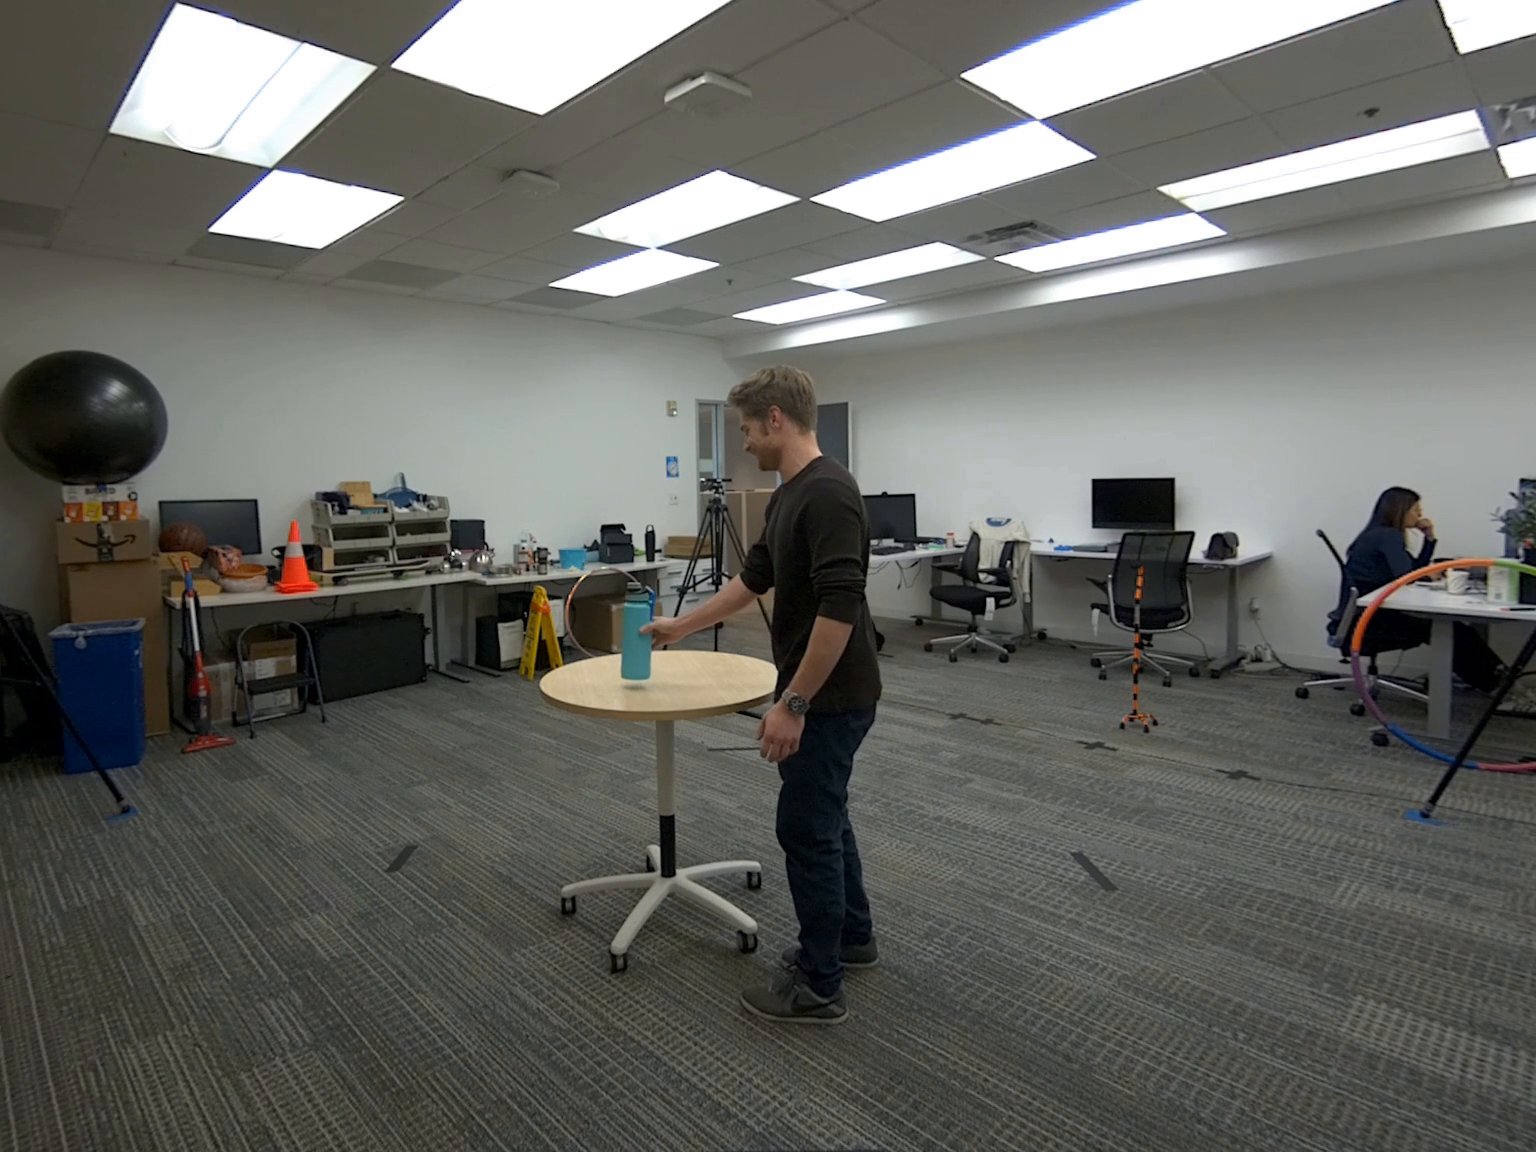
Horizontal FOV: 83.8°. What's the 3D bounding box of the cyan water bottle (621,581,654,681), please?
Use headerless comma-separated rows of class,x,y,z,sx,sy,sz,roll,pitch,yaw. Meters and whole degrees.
cyan water bottle,-0.383,0.163,2.550,0.092,0.283,0.092,3,0,-2
